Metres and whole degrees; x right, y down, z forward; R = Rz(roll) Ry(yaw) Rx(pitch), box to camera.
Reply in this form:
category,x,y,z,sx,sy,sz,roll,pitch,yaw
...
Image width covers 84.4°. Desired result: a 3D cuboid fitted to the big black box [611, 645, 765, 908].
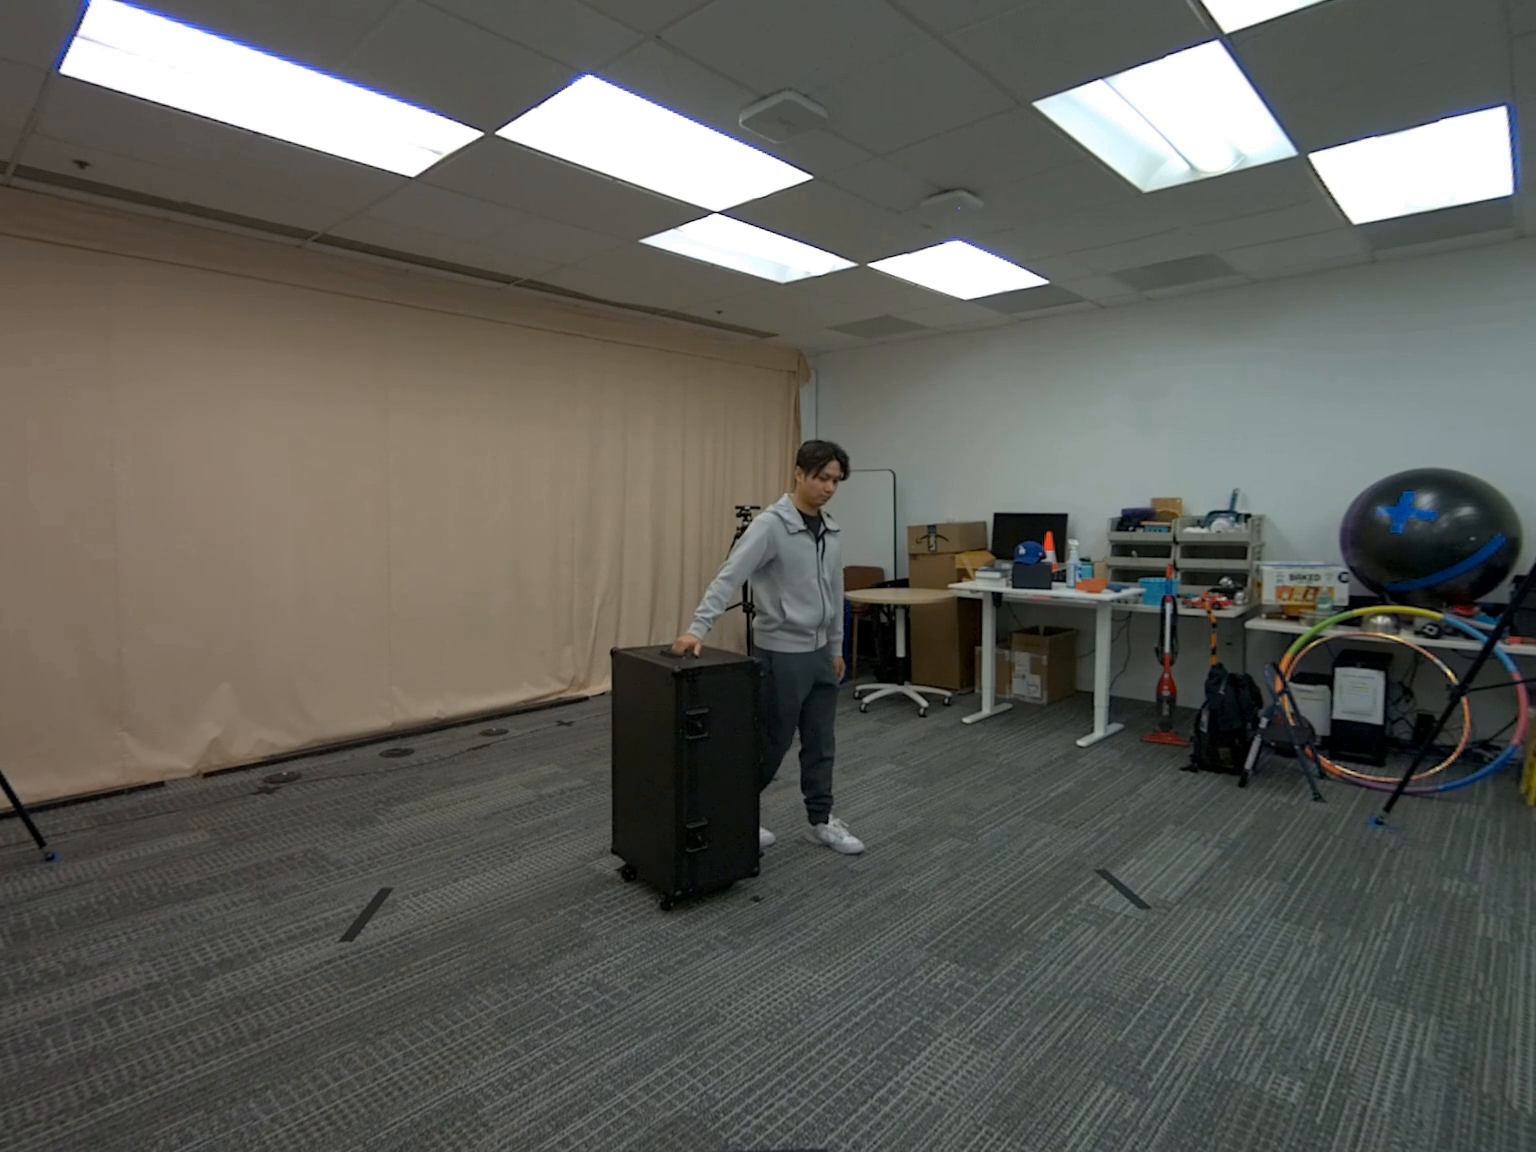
category,x,y,z,sx,sy,sz,roll,pitch,yaw
big black box,-0.309,0.711,3.108,0.384,0.860,0.537,0,2,-35
